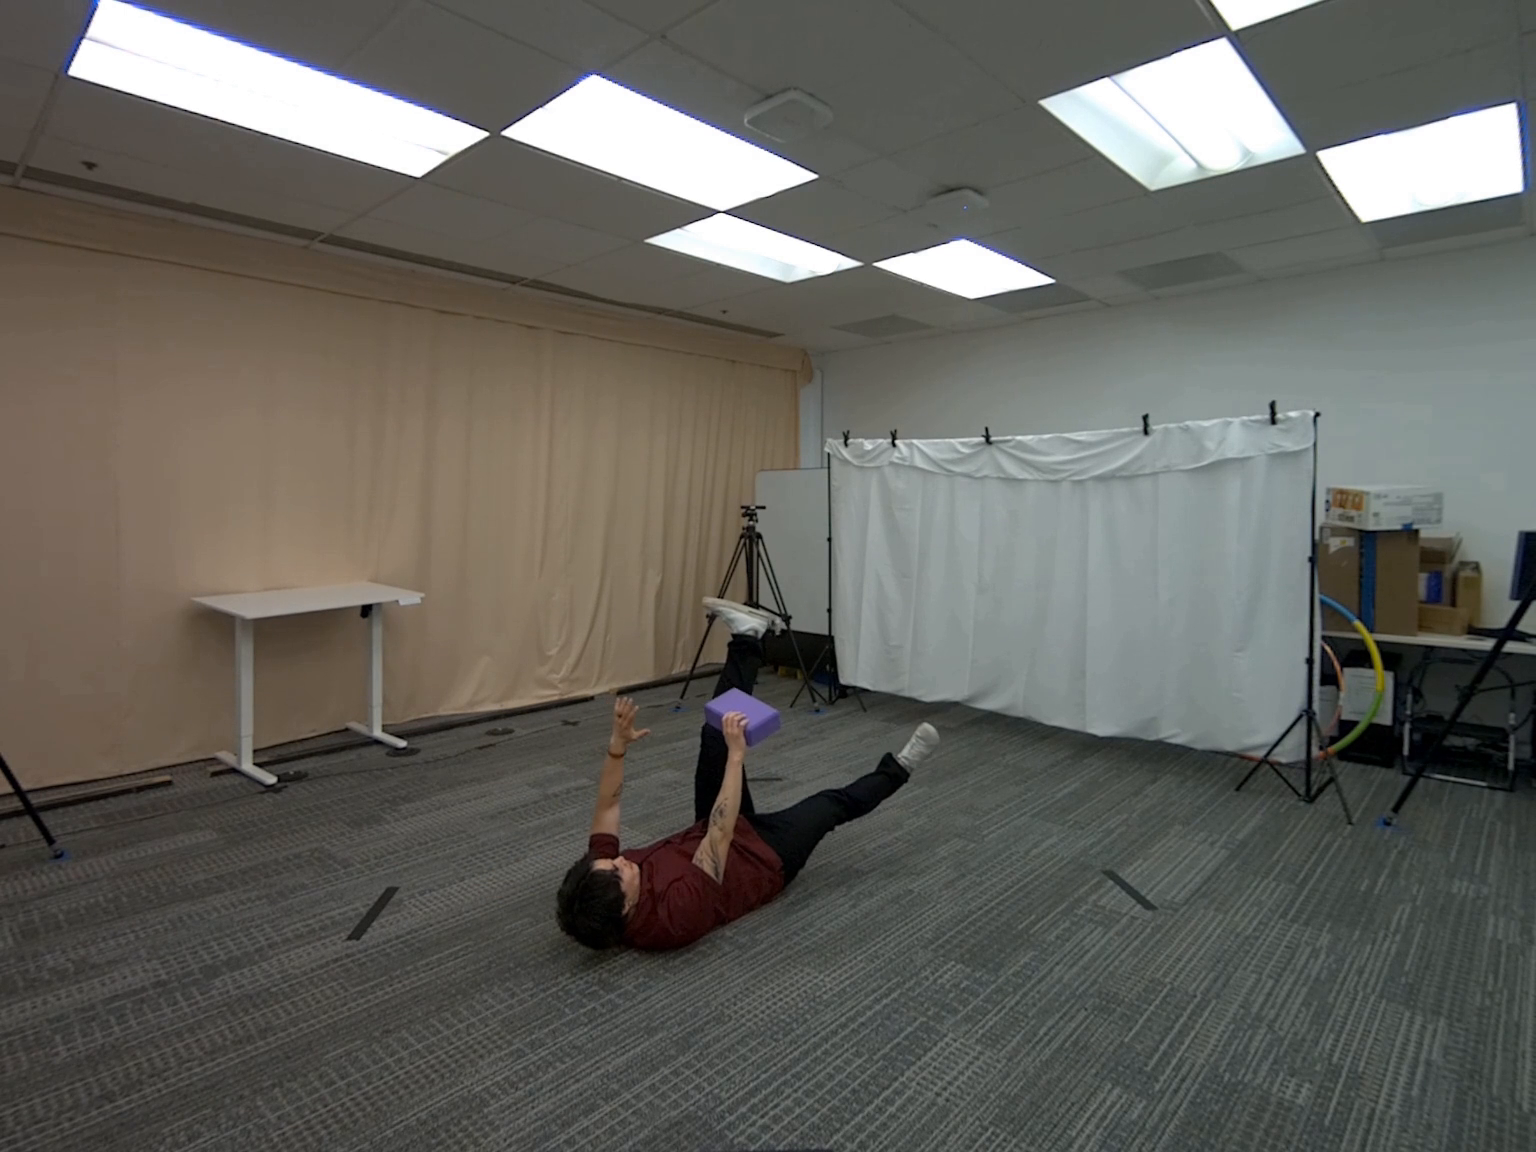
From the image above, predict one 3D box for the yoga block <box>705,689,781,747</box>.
[{"bbox_3d":[-0.092,0.473,2.817,0.146,0.075,0.238,-19,27,-32],"label":"yoga block"}]
